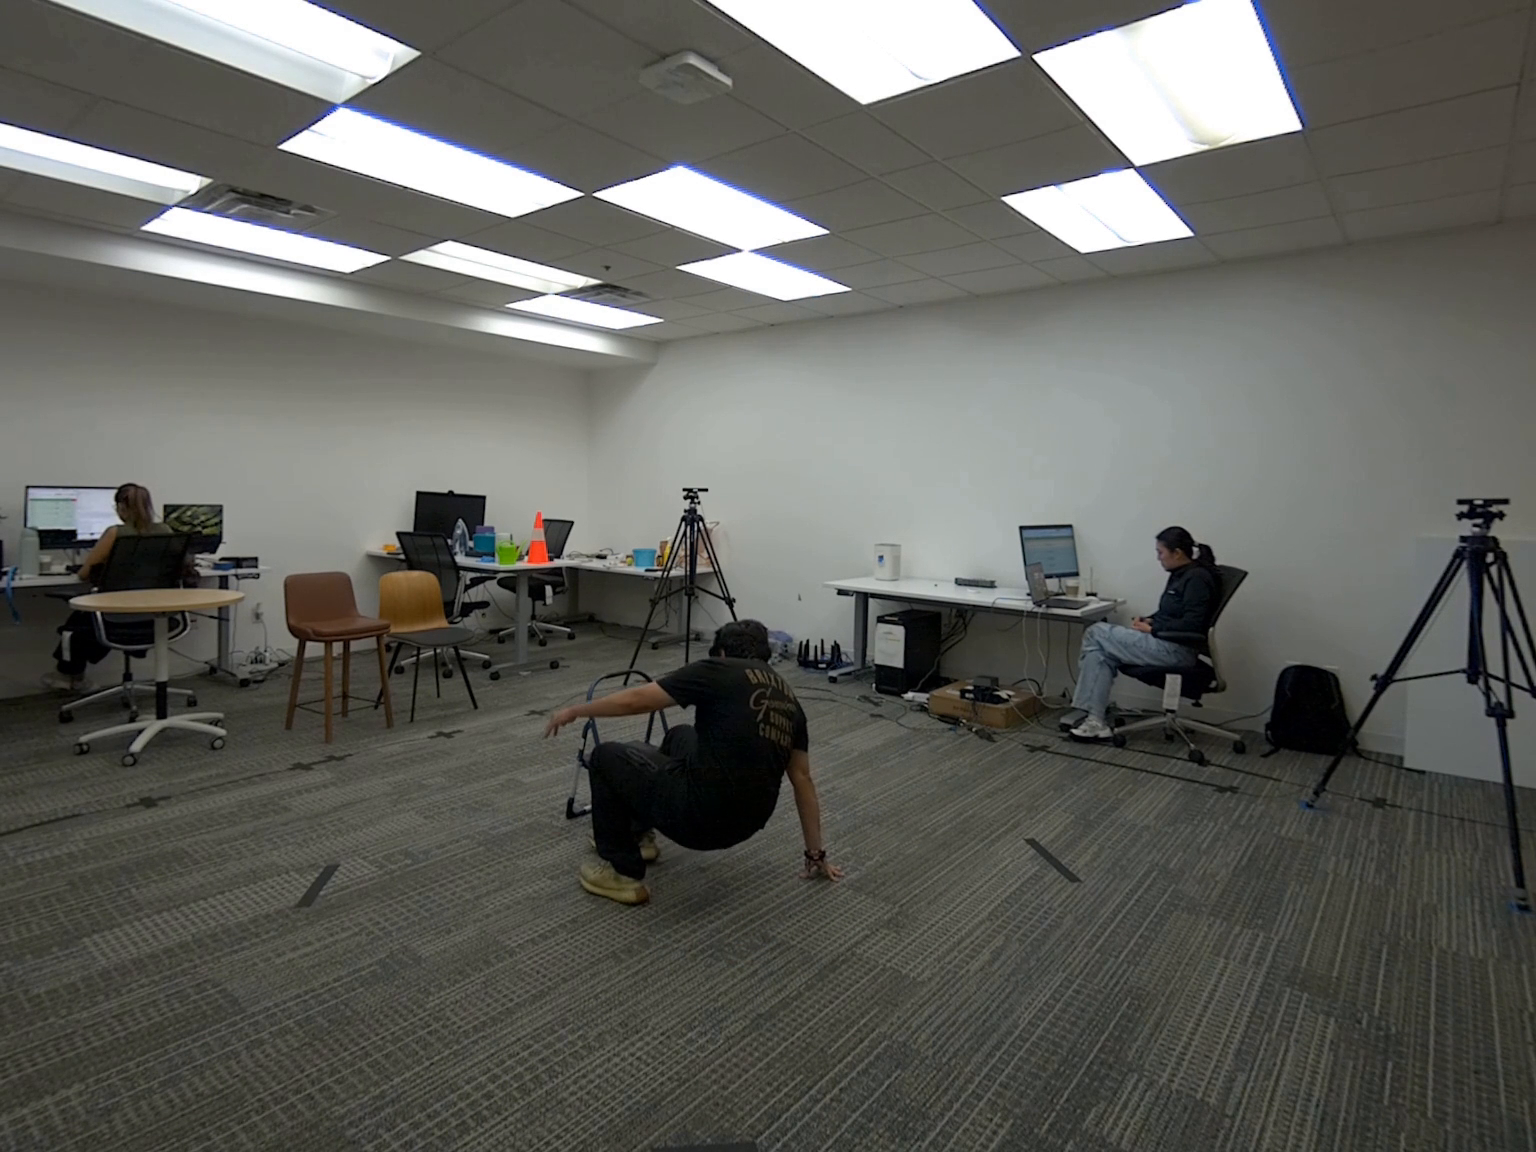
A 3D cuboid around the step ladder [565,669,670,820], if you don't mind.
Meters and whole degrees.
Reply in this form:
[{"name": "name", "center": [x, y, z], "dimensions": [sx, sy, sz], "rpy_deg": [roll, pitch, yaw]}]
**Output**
[{"name": "step ladder", "center": [-0.594, 0.712, 3.596], "dimensions": [0.361, 0.605, 0.418], "rpy_deg": [3, 4, 38]}]
